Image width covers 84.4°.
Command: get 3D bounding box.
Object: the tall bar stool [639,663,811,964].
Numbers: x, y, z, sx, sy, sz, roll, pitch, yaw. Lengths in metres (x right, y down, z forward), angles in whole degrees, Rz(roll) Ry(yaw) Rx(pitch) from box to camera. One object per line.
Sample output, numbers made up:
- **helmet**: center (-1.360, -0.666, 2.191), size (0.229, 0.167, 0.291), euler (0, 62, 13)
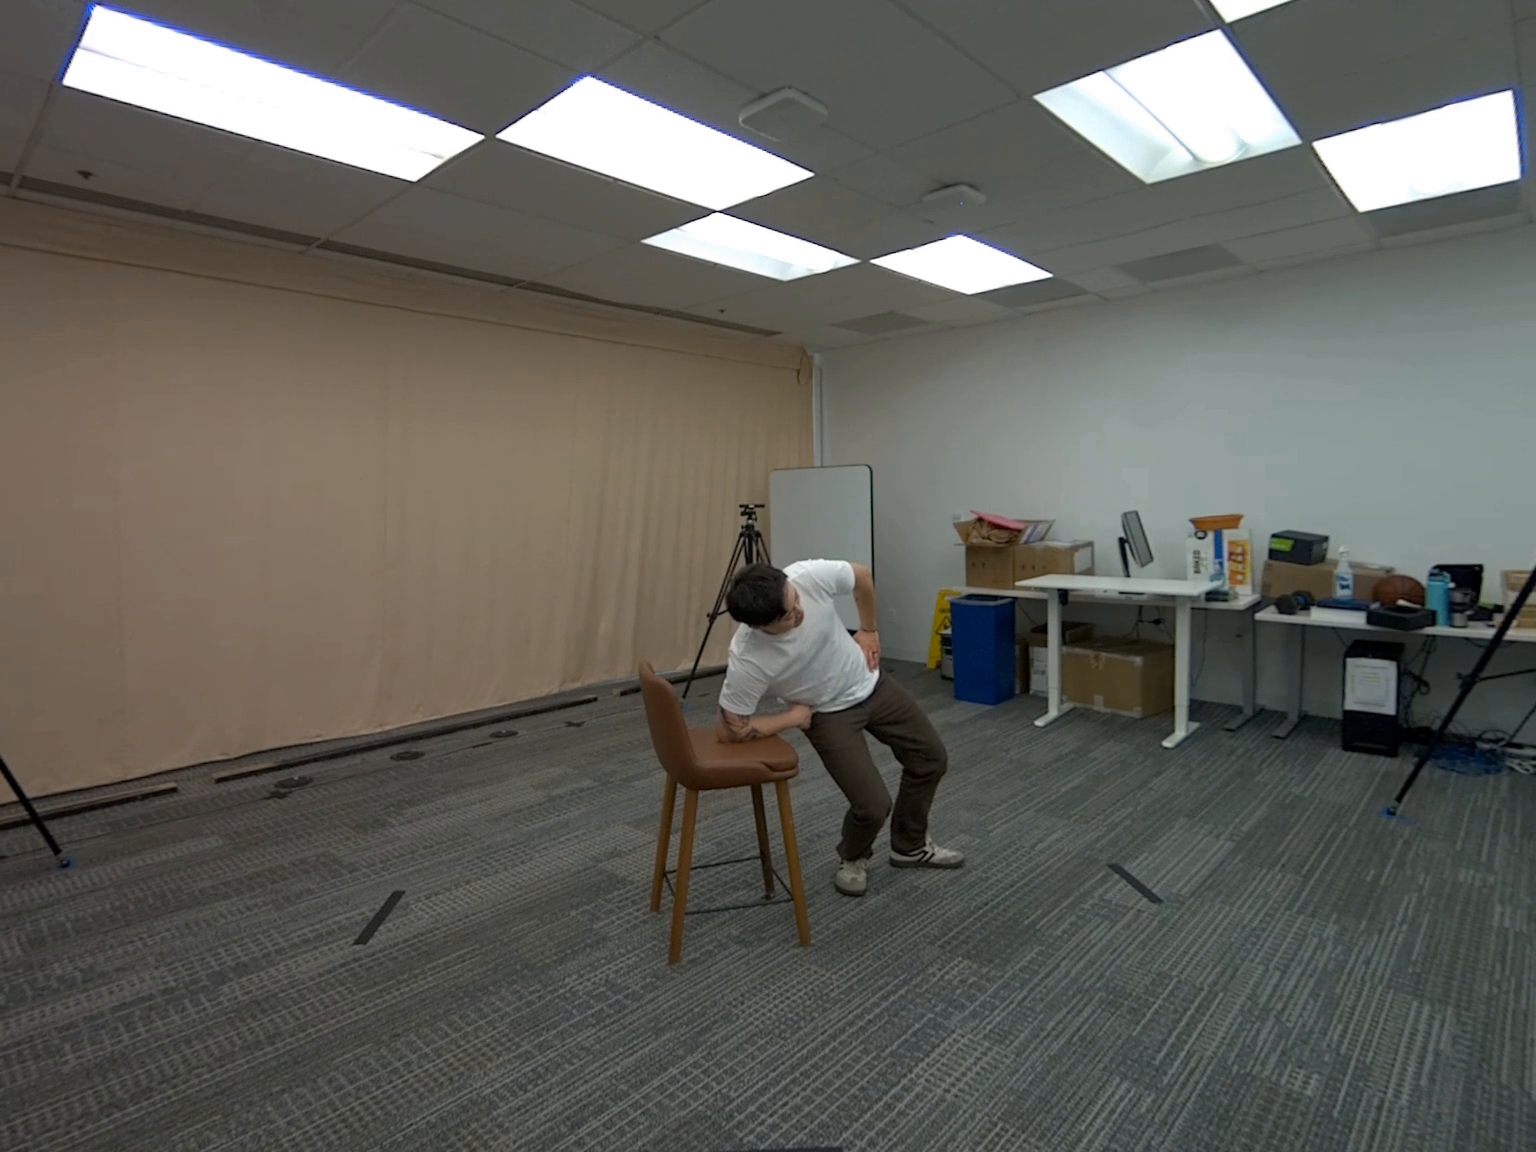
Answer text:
- **tall bar stool**: center (-0.149, 0.727, 2.762), size (0.460, 0.888, 0.465), euler (-3, 4, -16)
